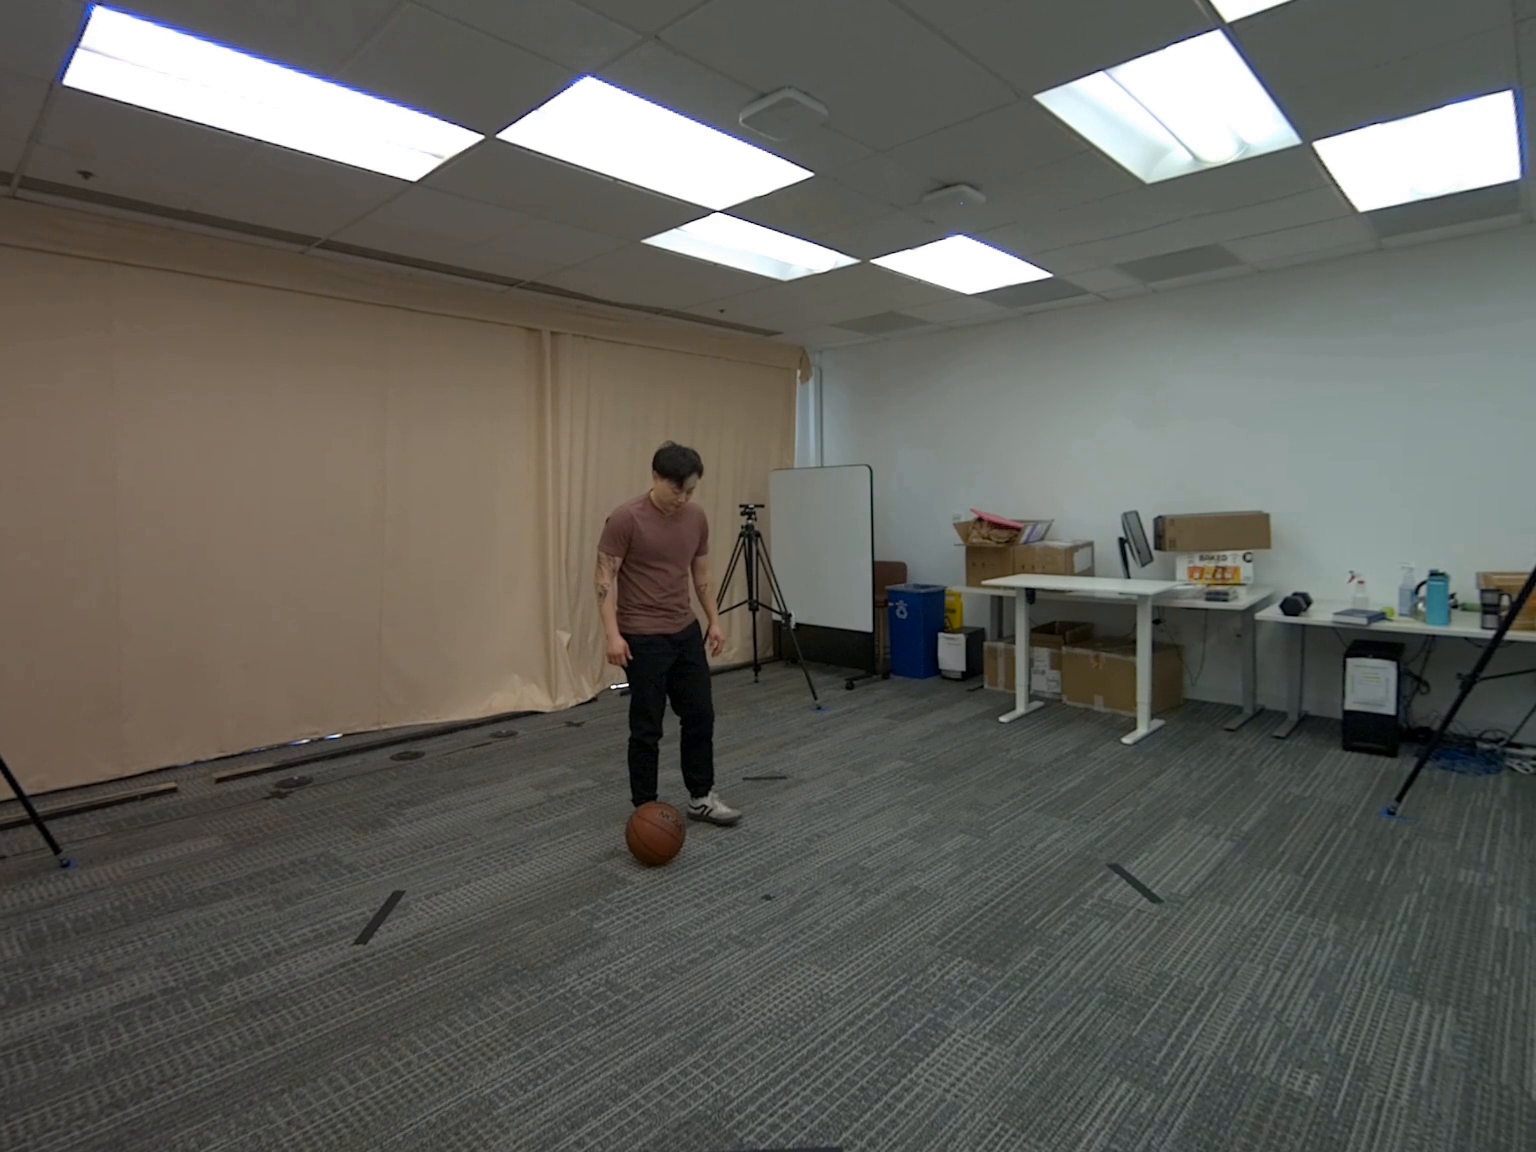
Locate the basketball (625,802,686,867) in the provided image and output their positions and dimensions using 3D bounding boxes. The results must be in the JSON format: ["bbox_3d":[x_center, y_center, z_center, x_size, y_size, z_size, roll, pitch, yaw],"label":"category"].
[{"bbox_3d":[-0.439,0.999,3.304,0.236,0.235,0.237,-1,4,-2],"label":"basketball"}]
